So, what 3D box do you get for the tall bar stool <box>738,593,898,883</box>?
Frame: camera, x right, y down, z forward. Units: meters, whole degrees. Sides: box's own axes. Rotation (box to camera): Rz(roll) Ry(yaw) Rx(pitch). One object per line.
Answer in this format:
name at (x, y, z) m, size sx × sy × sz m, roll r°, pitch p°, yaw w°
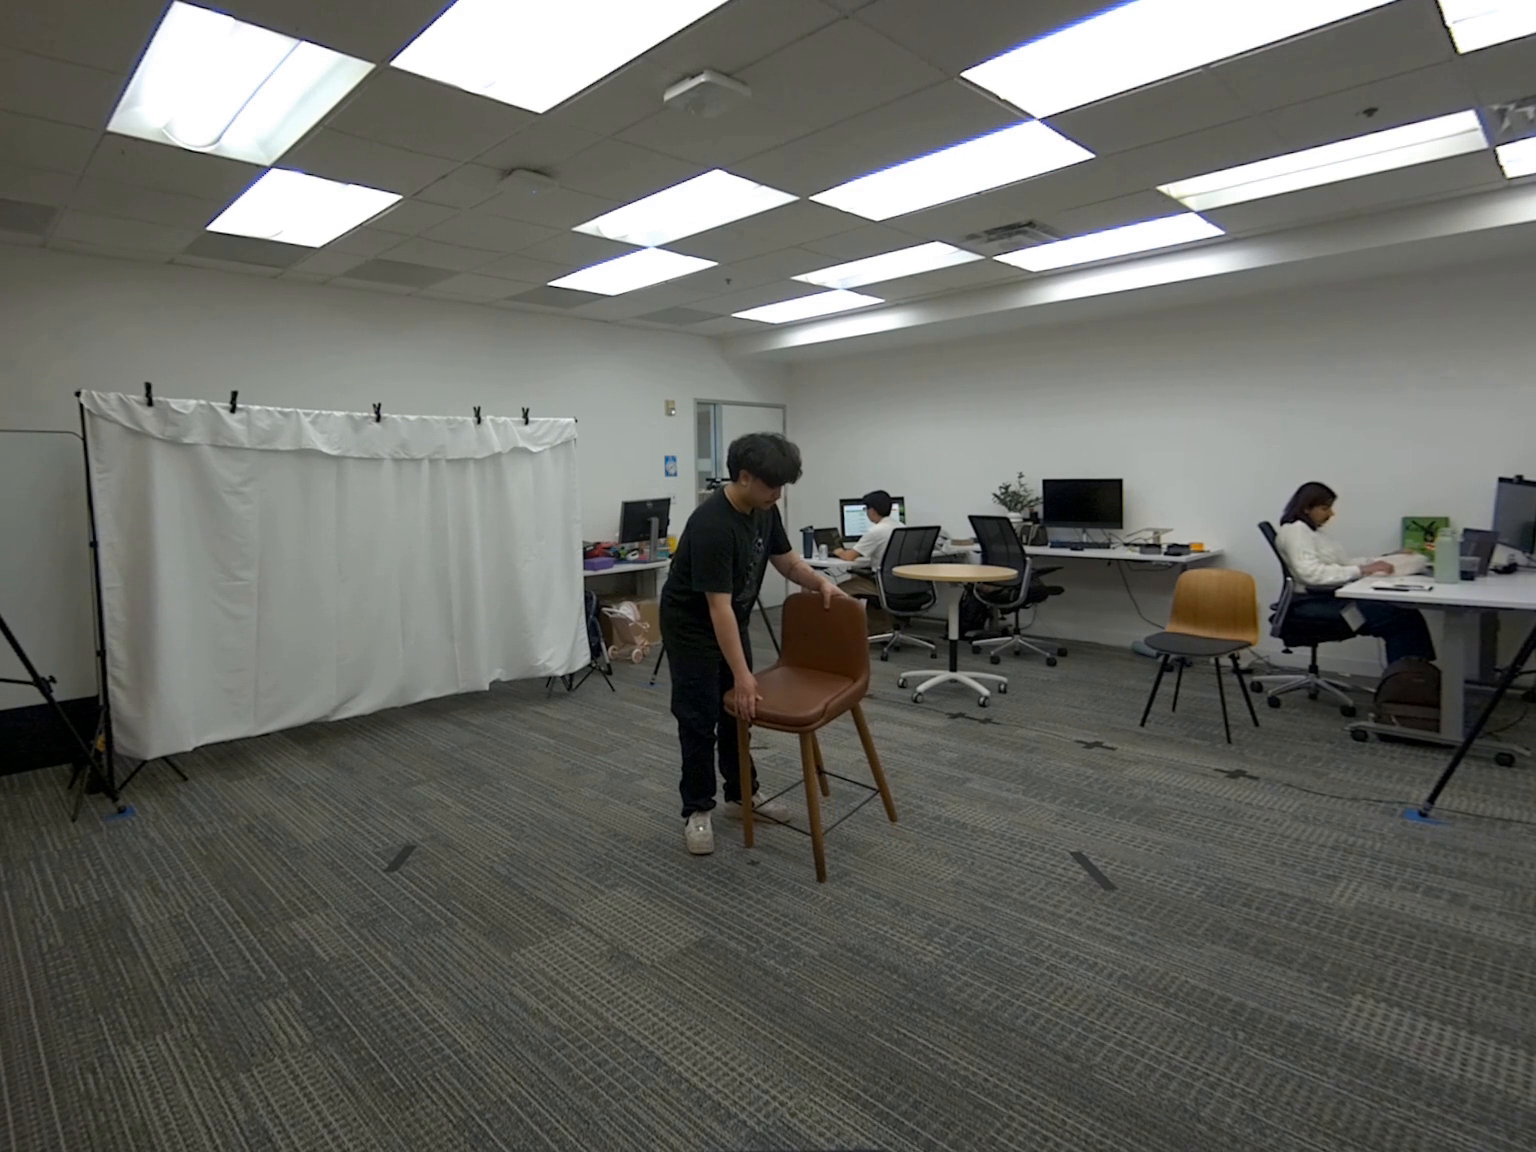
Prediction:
tall bar stool at (0.142, 0.558, 3.142) m, size 0.459 × 0.880 × 0.470 m, roll -18°, pitch 14°, yaw -39°
